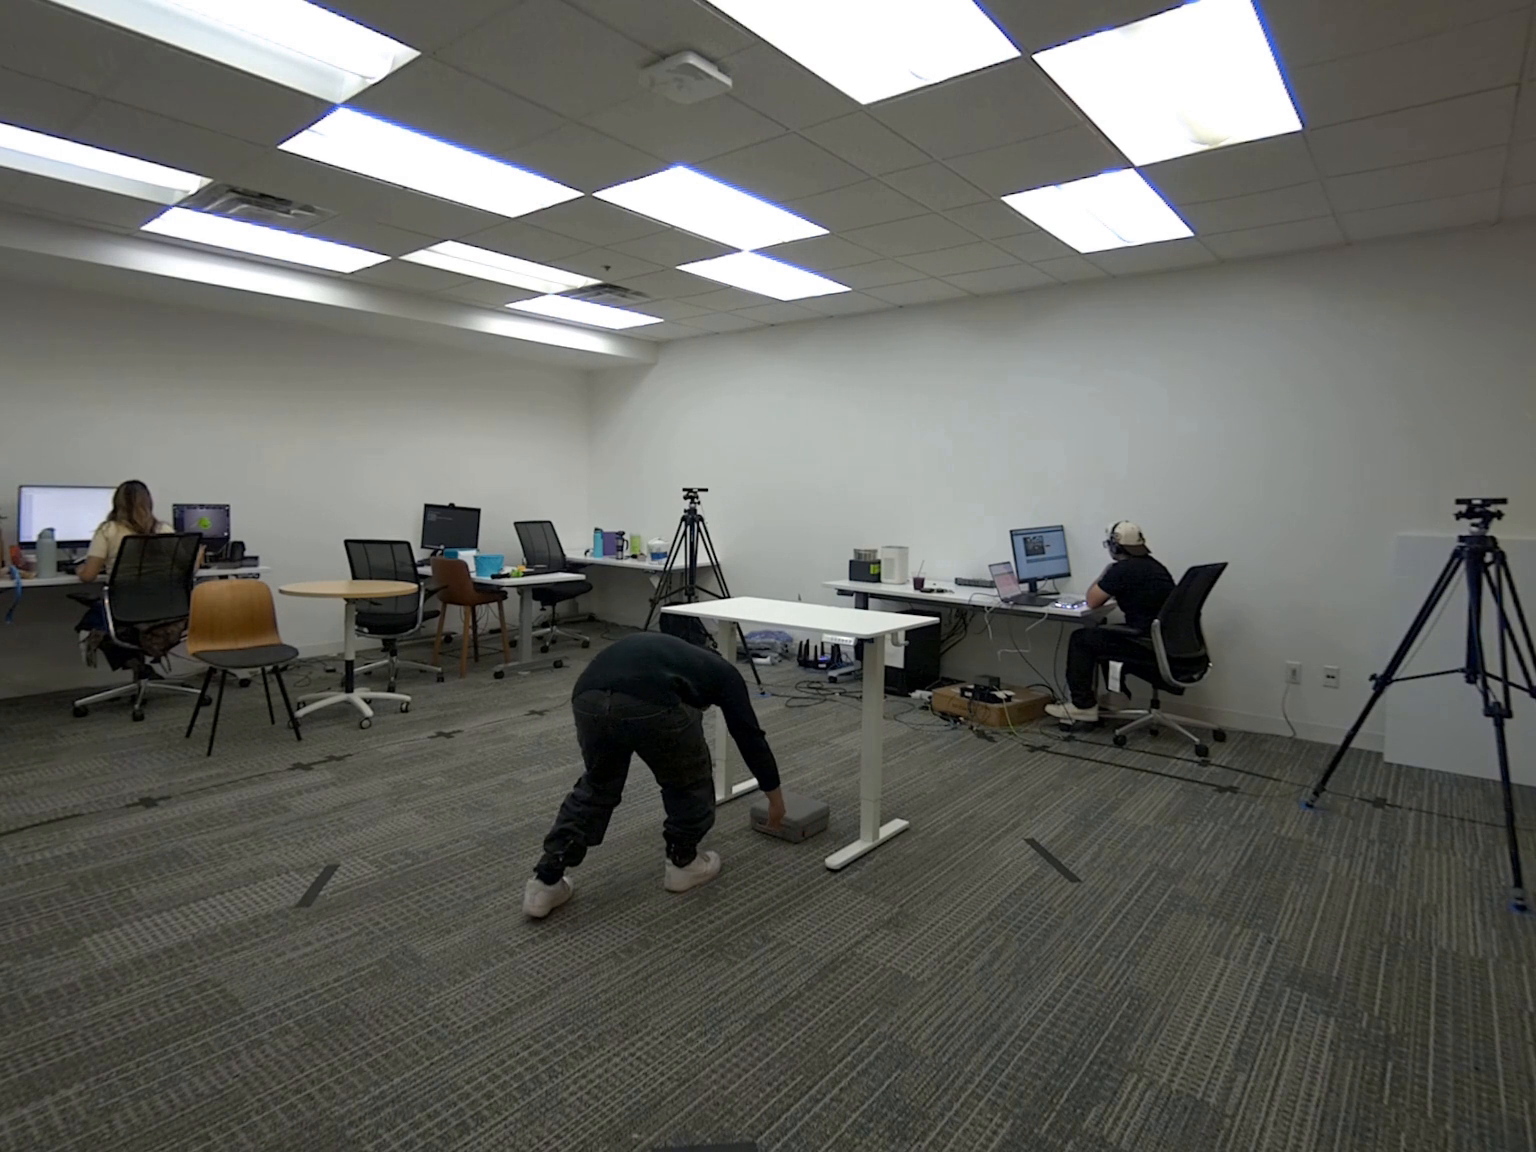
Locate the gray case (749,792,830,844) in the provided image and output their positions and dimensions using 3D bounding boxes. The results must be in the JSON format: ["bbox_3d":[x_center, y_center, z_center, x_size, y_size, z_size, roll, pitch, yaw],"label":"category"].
[{"bbox_3d":[0.082,0.972,3.499,0.269,0.104,0.249,5,6,38],"label":"gray case"}]
